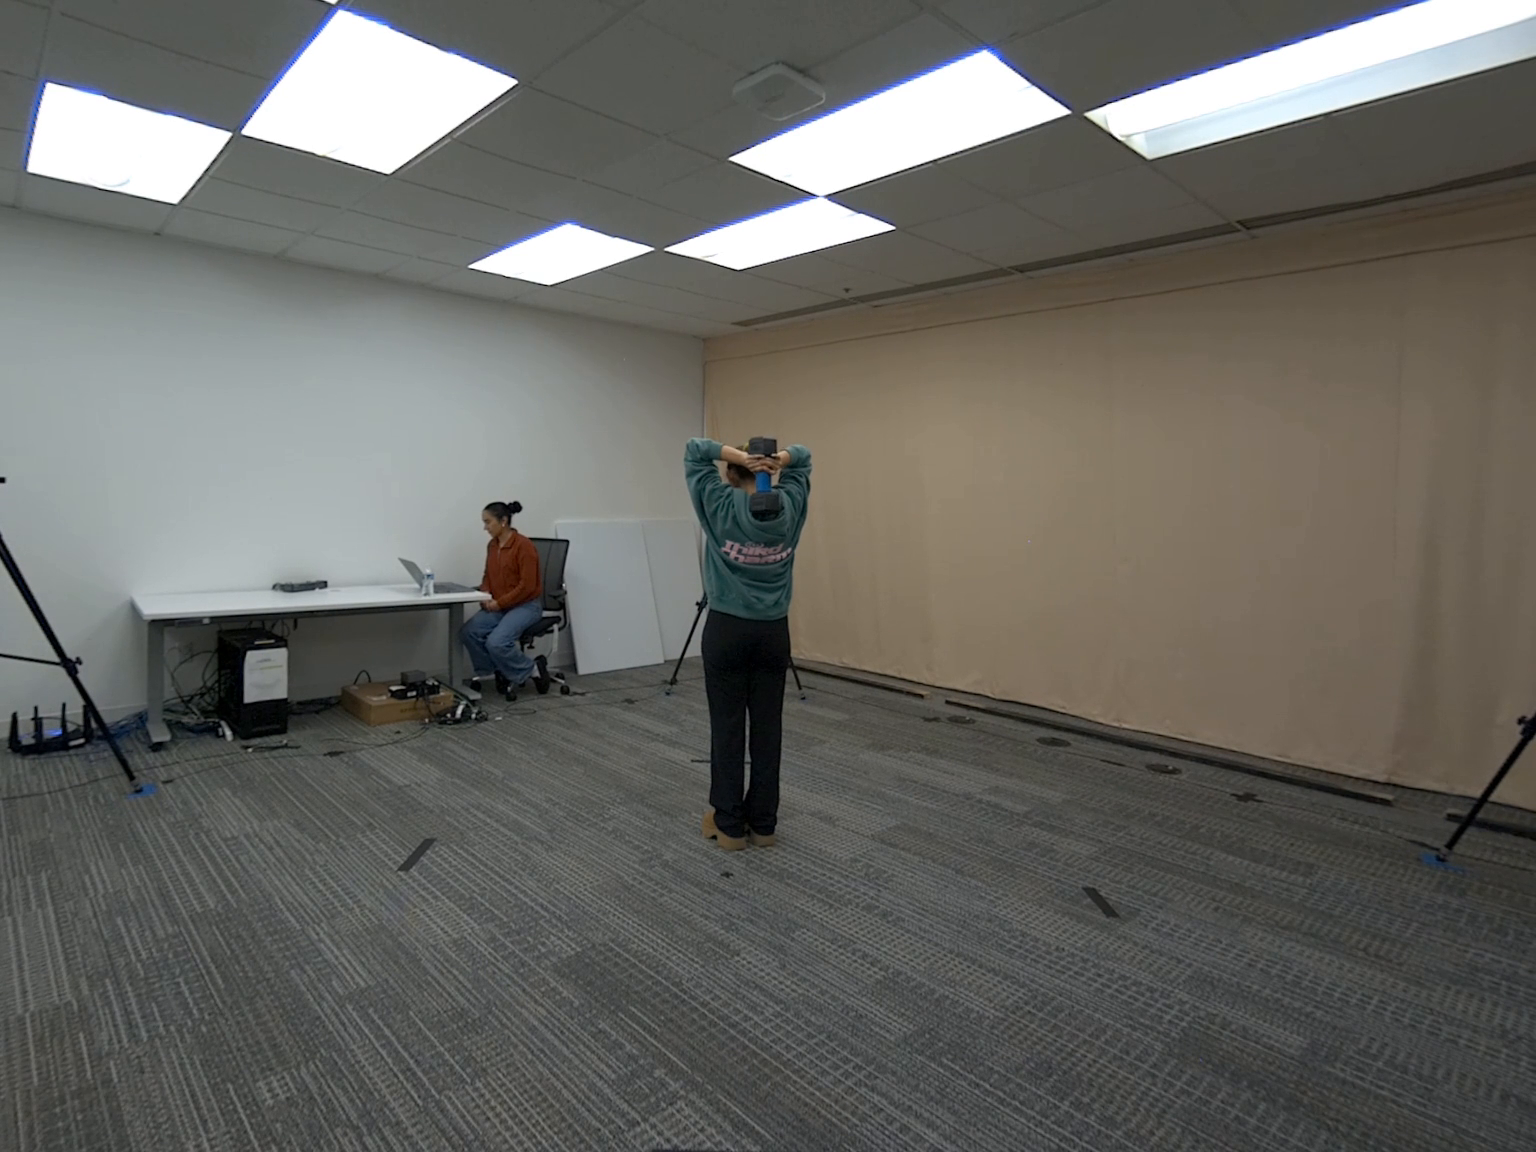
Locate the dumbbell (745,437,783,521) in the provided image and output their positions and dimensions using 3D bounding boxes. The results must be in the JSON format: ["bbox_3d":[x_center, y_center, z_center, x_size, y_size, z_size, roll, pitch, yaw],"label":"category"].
[{"bbox_3d":[-0.024,-0.386,3.226,0.107,0.295,0.124,-1,-5,-14],"label":"dumbbell"}]
